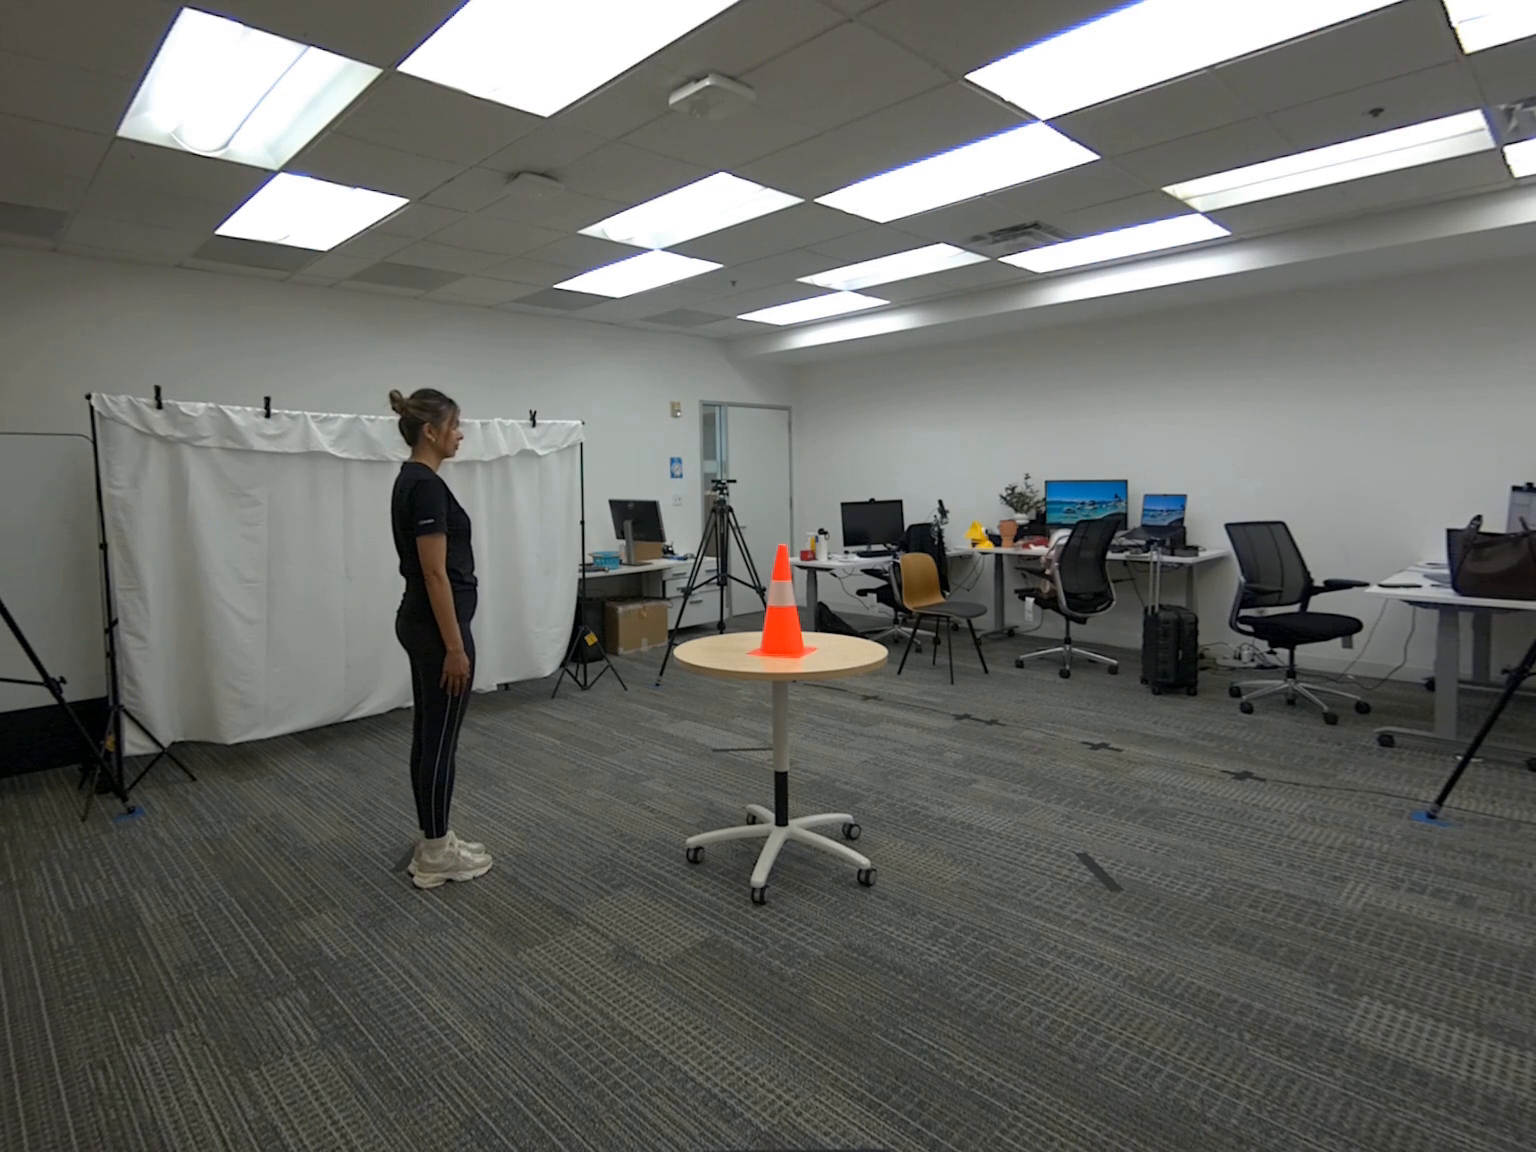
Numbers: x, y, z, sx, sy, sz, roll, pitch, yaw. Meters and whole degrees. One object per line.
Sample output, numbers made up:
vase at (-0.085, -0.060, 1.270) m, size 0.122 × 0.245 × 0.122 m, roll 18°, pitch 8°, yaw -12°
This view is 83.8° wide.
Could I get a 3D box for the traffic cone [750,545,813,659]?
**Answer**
traffic cone at (0.049, 0.085, 3.030) m, size 0.210 × 0.382 × 0.199 m, roll 2°, pitch 5°, yaw 24°
